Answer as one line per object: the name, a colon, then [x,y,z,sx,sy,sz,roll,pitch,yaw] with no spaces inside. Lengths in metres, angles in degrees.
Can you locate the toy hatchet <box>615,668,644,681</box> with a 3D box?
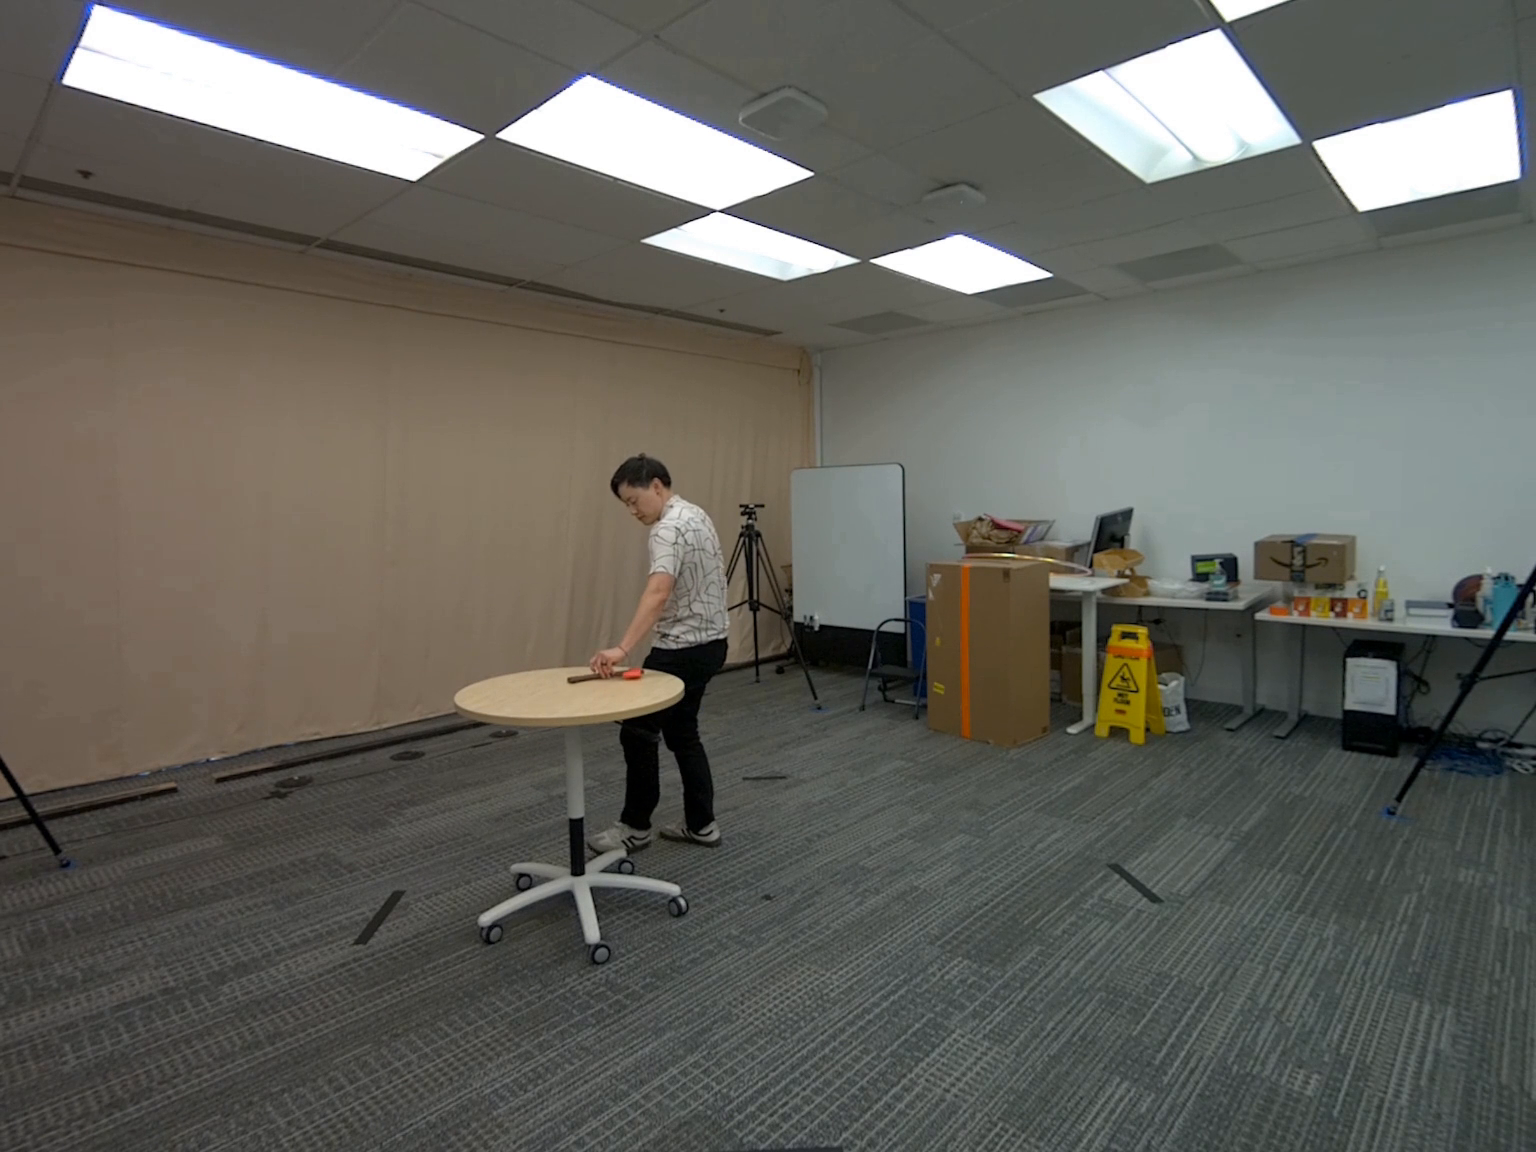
toy hatchet: [-0.578,0.358,2.975,0.263,0.029,0.135,-5,5,-32]
